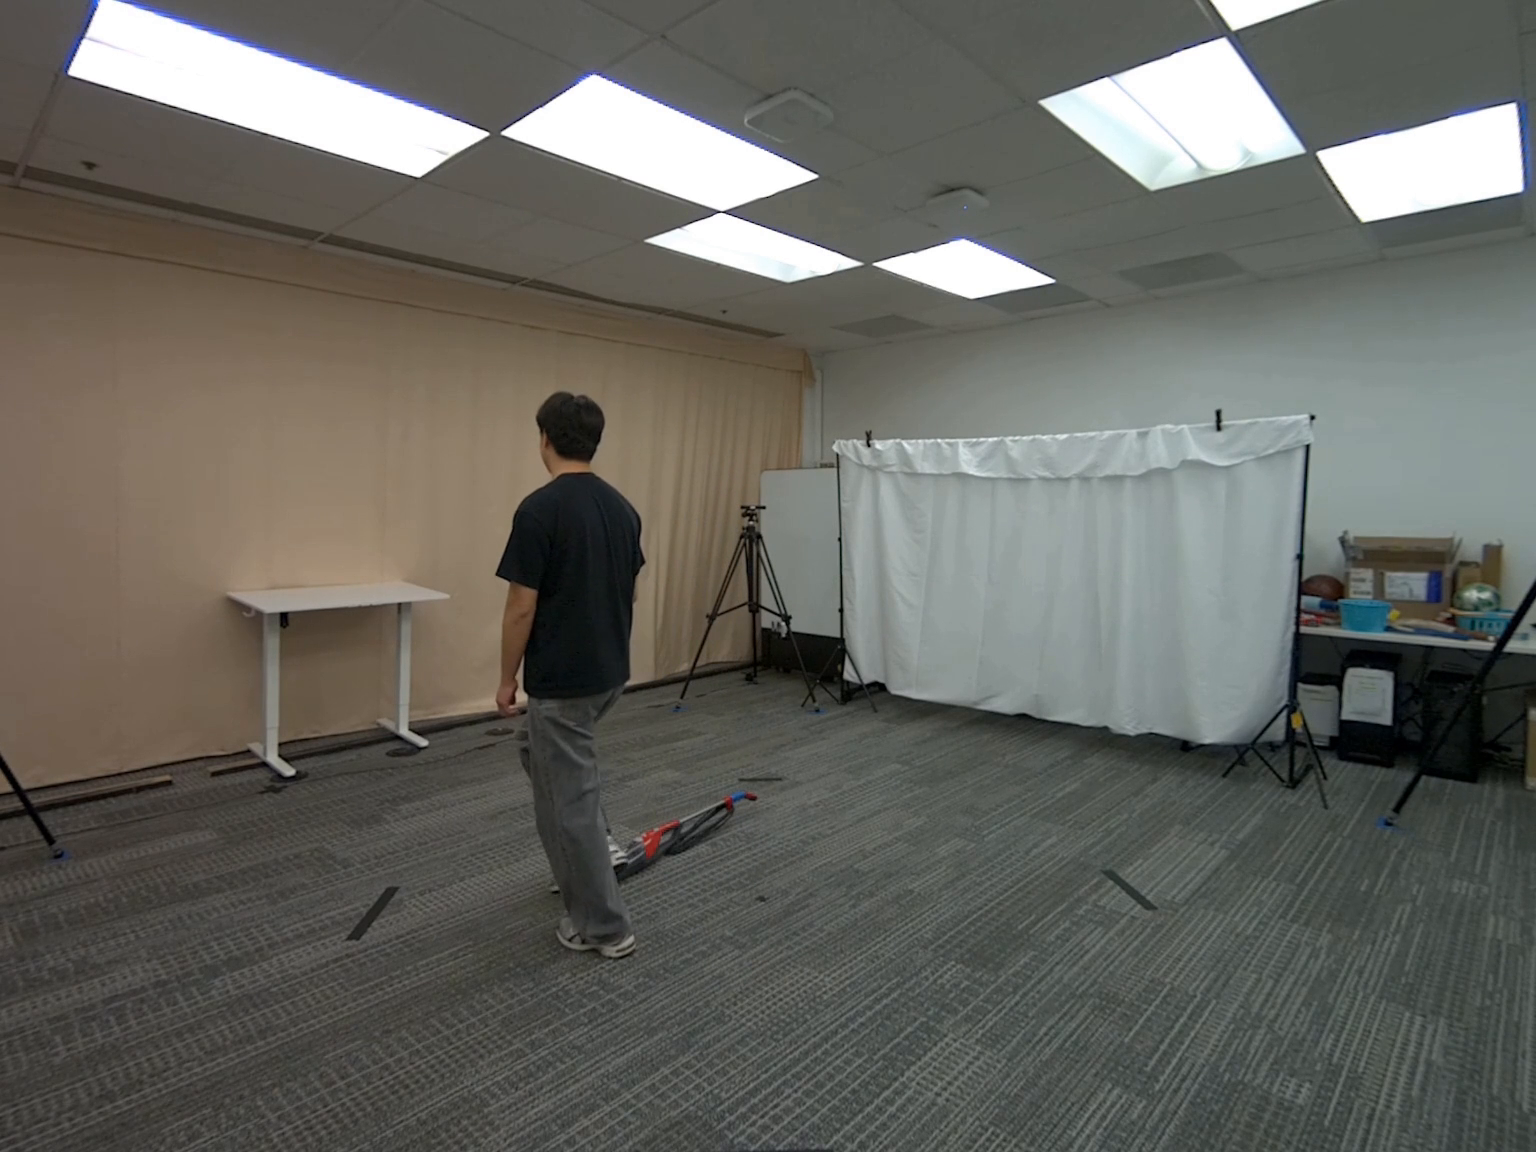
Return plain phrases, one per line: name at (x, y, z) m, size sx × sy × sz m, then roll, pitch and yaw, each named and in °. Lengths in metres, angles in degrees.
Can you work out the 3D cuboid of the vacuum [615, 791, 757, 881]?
vacuum at (-0.360, 1.054, 3.423) m, size 0.261 × 0.143 × 1.019 m, roll 3°, pitch 5°, yaw 36°
